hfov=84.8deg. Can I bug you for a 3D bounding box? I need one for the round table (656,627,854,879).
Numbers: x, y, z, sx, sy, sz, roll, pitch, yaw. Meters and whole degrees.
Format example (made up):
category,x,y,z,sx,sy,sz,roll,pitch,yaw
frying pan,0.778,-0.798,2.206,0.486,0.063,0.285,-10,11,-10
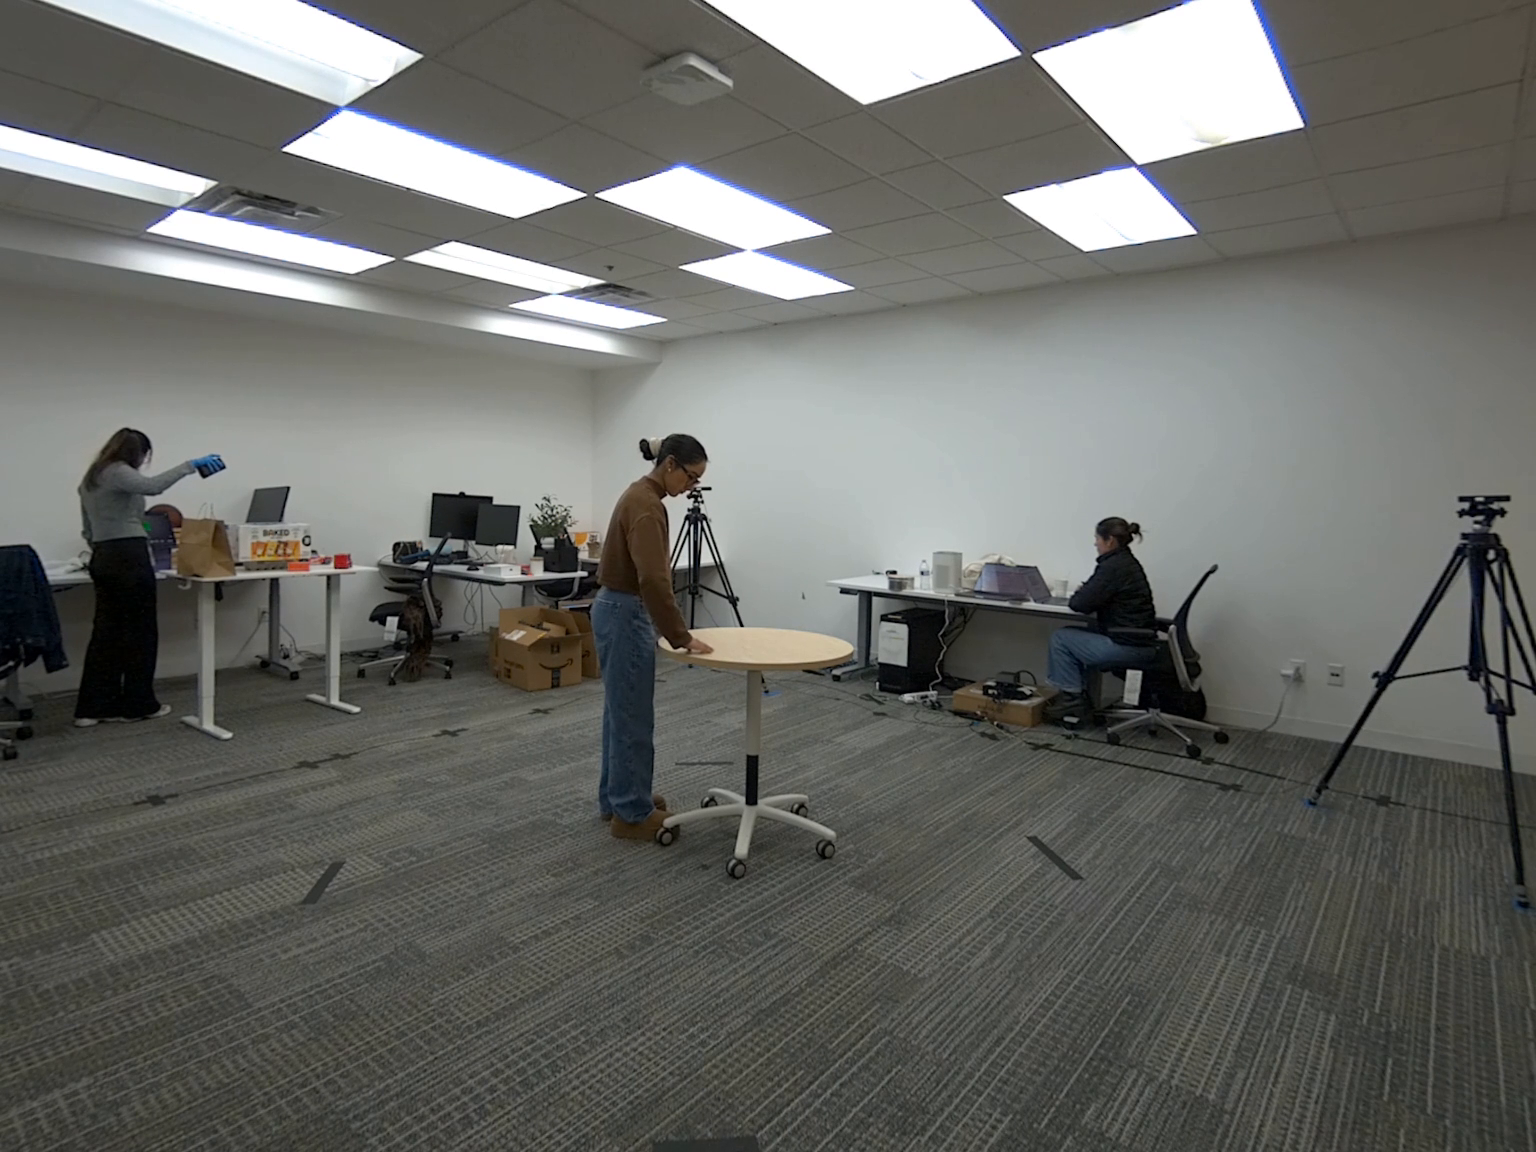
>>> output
category,x,y,z,sx,sy,sz,roll,pitch,yaw
round table,-0.066,0.656,3.366,0.763,0.791,0.768,1,4,-2
